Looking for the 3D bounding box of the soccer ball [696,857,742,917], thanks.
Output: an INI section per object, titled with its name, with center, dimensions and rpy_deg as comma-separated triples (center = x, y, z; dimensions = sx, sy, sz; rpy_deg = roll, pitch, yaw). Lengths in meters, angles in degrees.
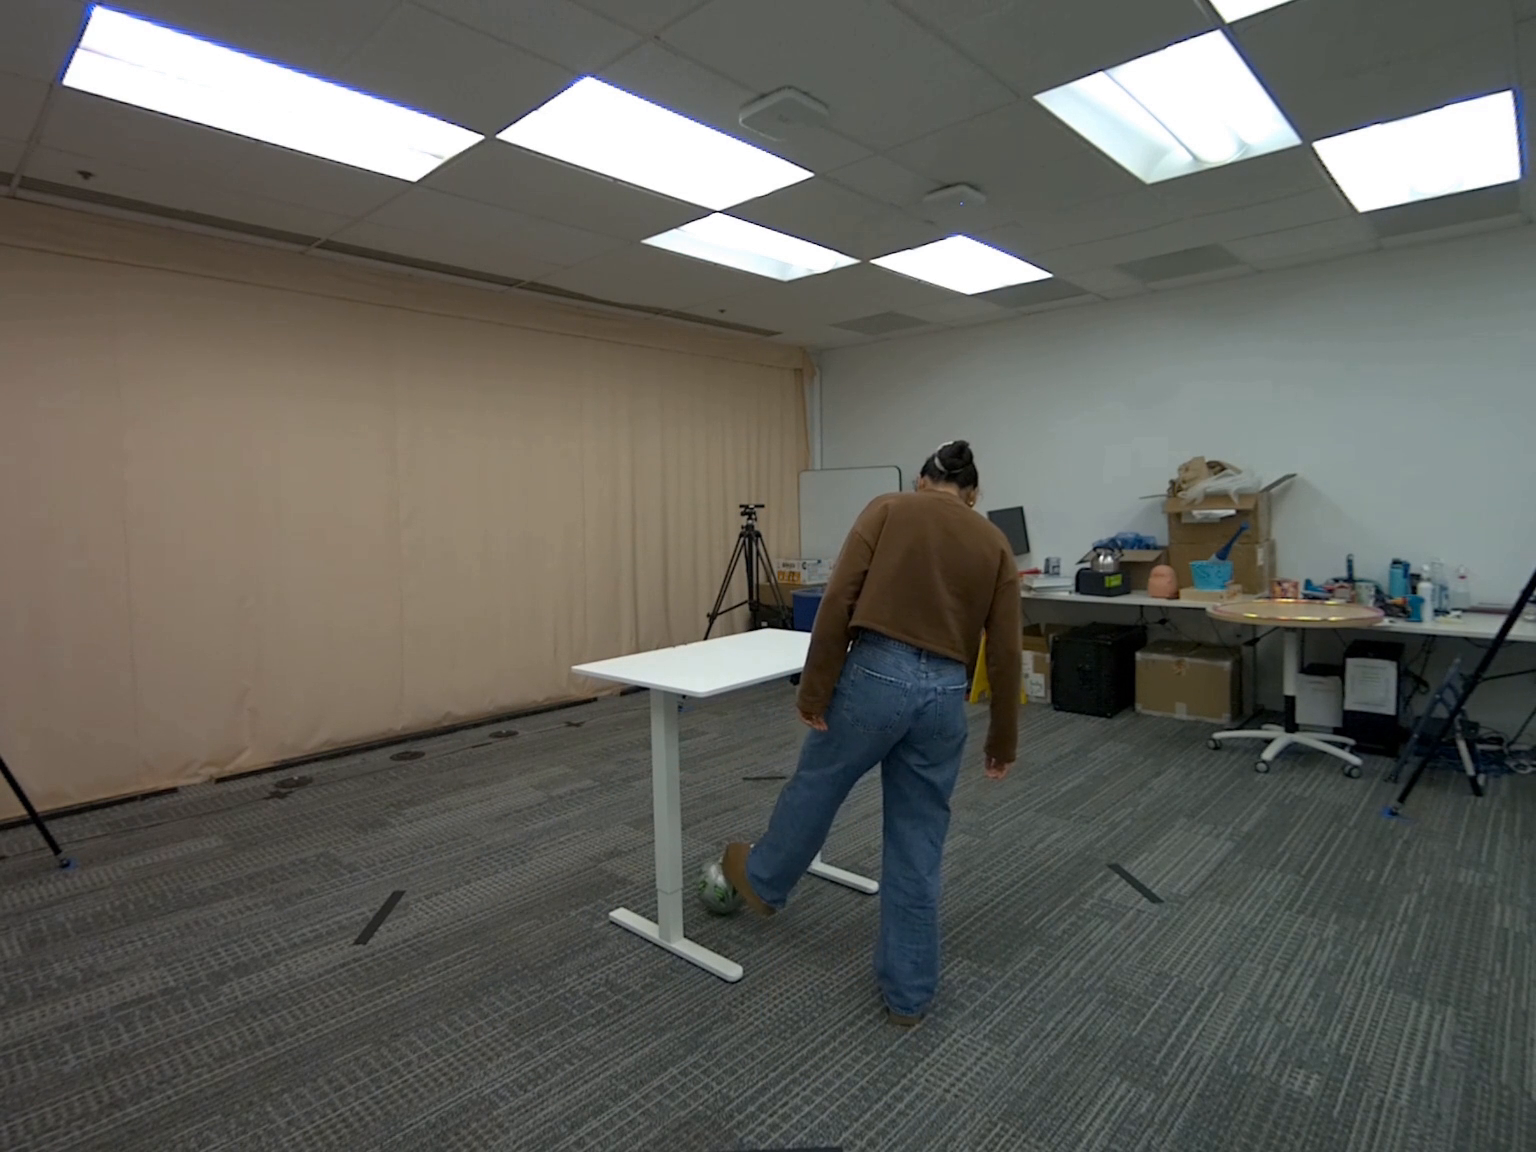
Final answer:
[soccer ball]
center = -0.150, 1.062, 2.884
dimensions = 0.187, 0.187, 0.188
rpy_deg = -1, 4, -2
